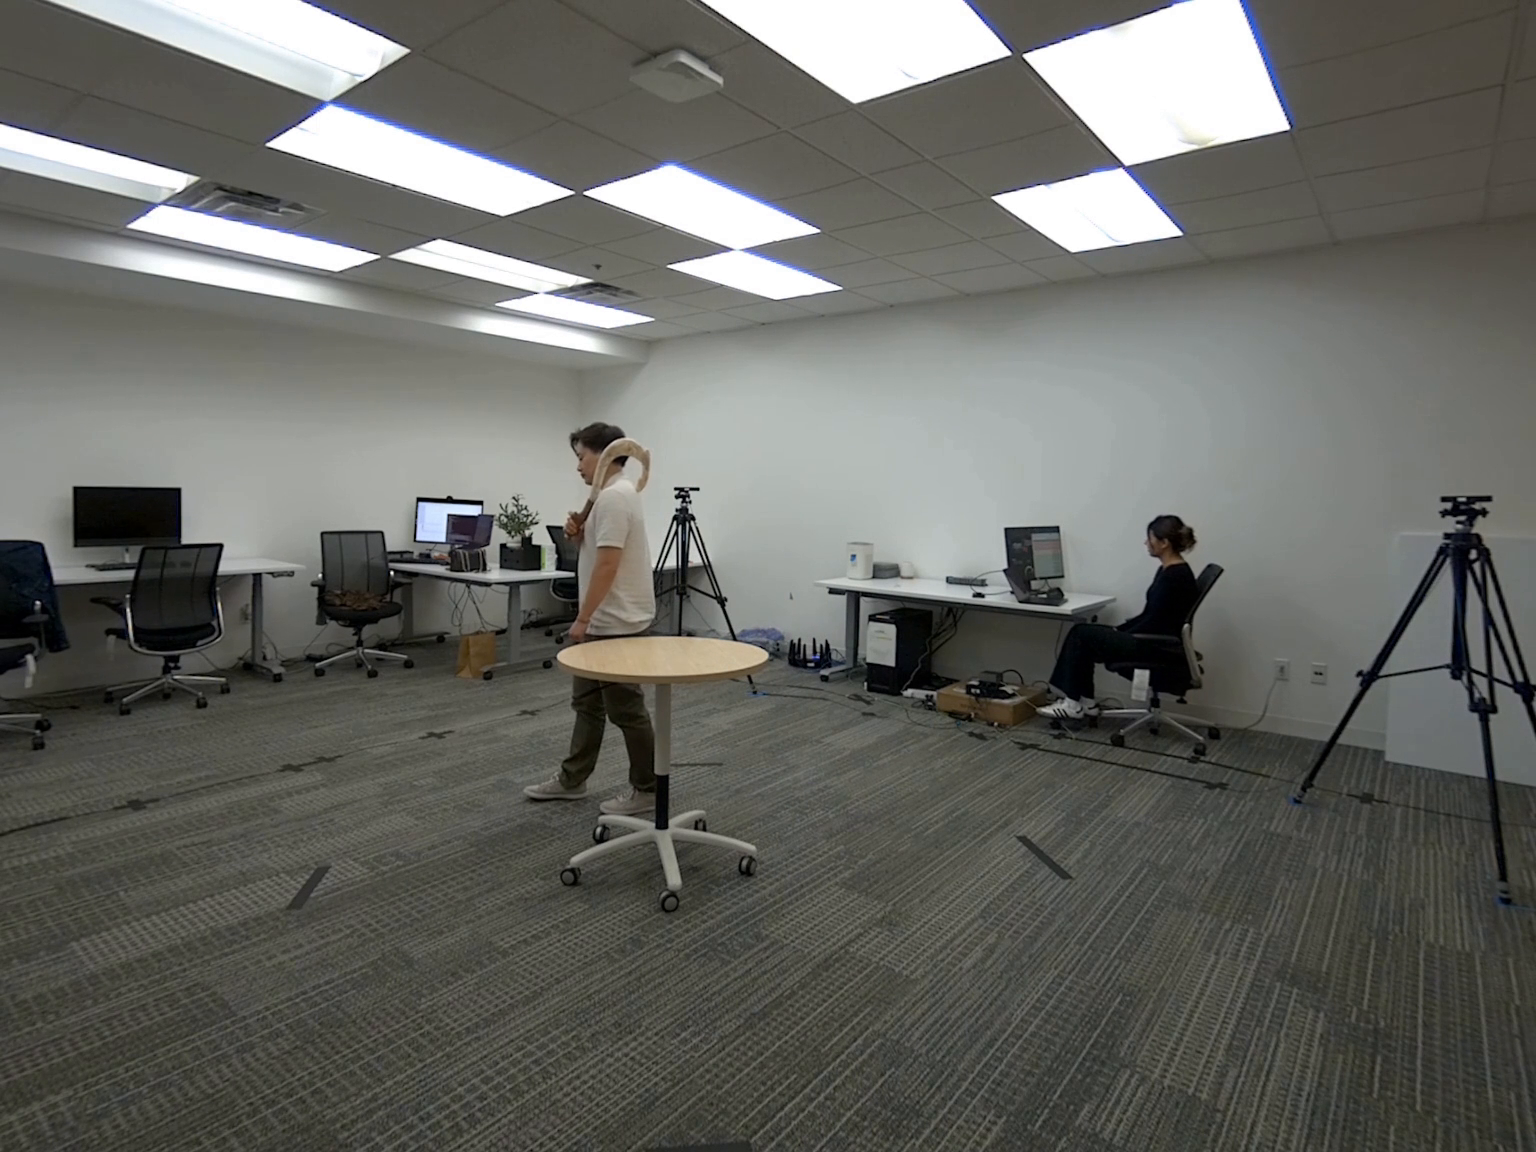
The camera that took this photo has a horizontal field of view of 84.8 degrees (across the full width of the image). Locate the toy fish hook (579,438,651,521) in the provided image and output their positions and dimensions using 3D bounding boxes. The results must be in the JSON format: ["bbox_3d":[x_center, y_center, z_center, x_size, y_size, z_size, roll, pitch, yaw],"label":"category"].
[{"bbox_3d":[-0.694,-0.349,3.591,0.220,0.506,0.049,31,8,-15],"label":"toy fish hook"}]
